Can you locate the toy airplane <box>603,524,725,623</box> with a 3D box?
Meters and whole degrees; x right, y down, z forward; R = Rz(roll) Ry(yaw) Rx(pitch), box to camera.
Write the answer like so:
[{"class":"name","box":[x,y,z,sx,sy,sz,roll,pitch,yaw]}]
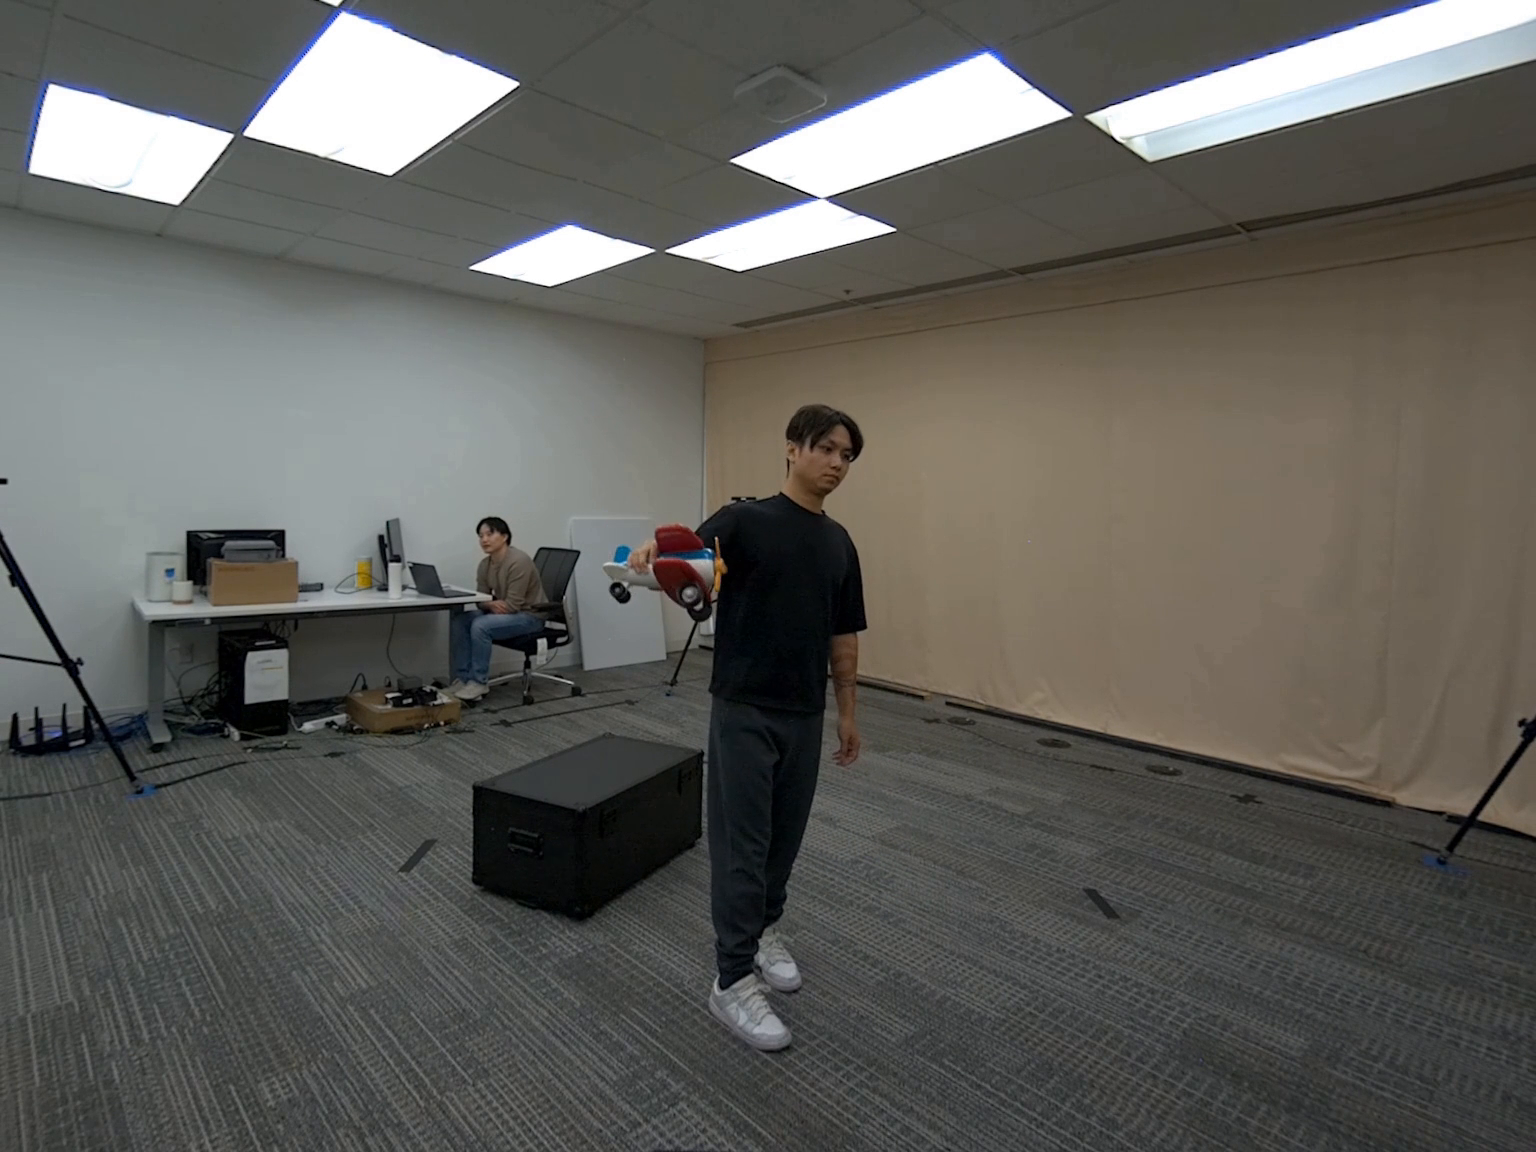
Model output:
[{"class":"toy airplane","box":[-0.231,-0.019,1.841,0.257,0.158,0.250,20,-23,-8]}]
